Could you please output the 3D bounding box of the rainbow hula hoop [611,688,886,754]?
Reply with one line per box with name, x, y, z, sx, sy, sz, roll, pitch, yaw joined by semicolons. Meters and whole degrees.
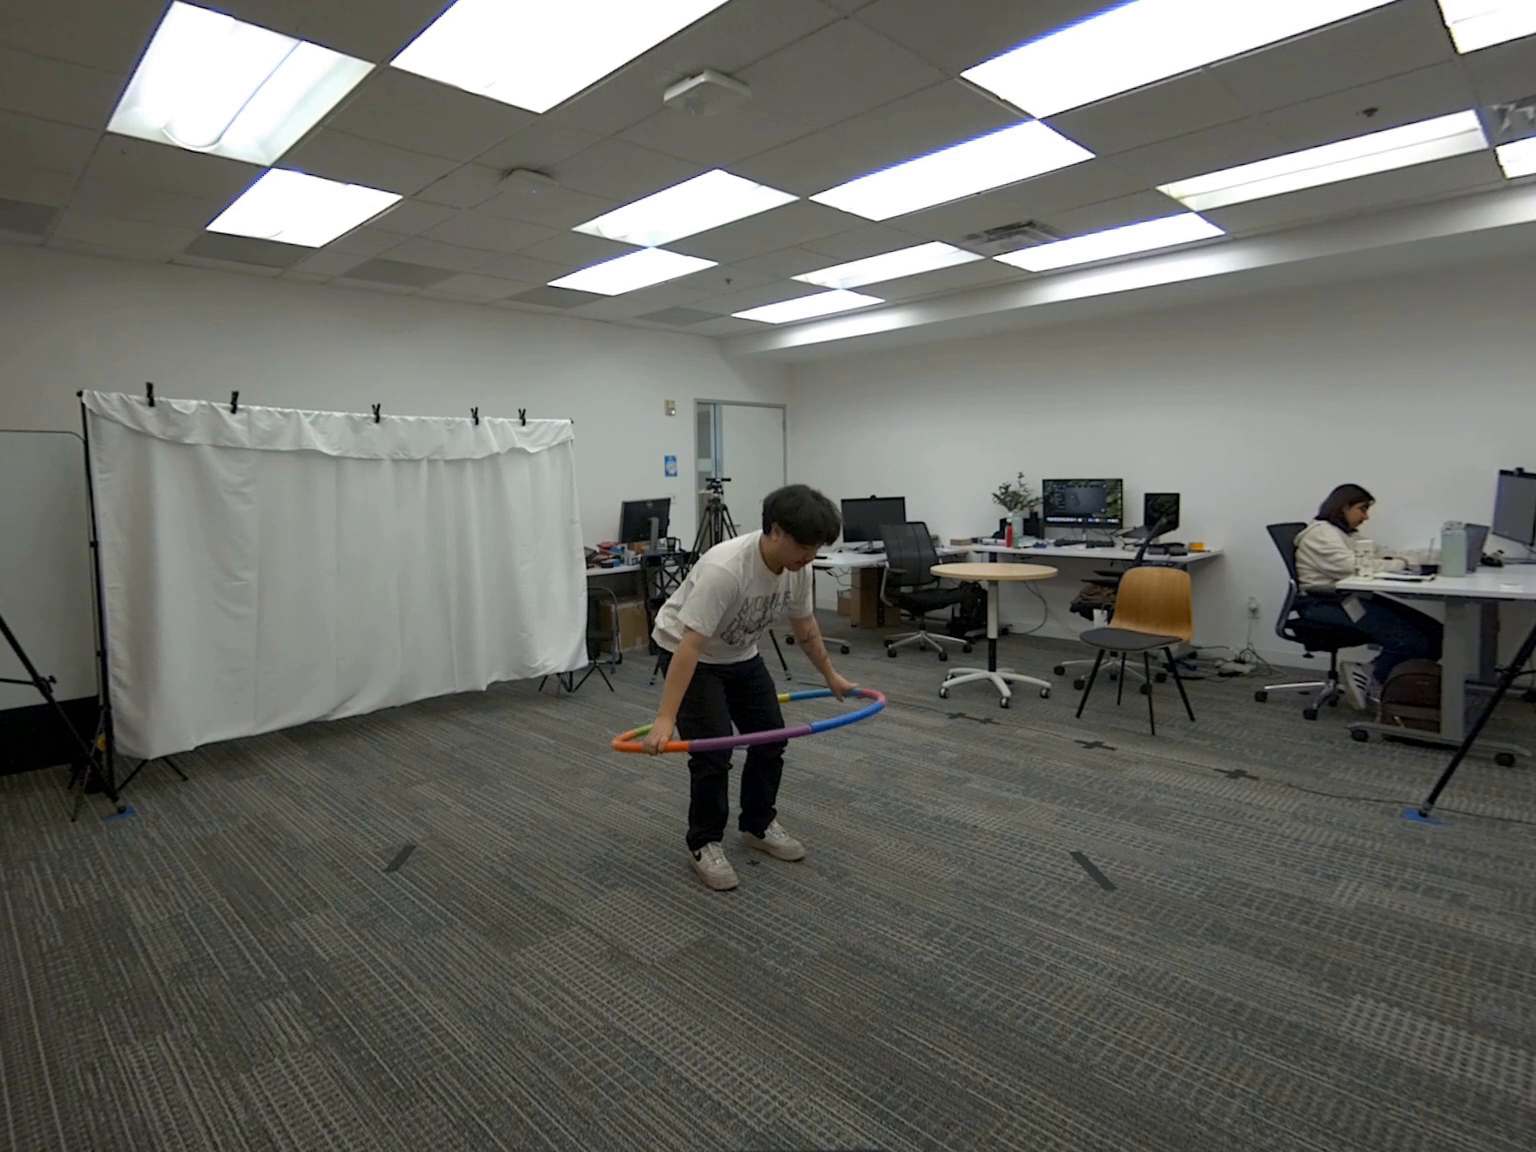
rainbow hula hoop;-0.077;0.507;3.045;0.984;0.052;0.982;-10;-2;-2
